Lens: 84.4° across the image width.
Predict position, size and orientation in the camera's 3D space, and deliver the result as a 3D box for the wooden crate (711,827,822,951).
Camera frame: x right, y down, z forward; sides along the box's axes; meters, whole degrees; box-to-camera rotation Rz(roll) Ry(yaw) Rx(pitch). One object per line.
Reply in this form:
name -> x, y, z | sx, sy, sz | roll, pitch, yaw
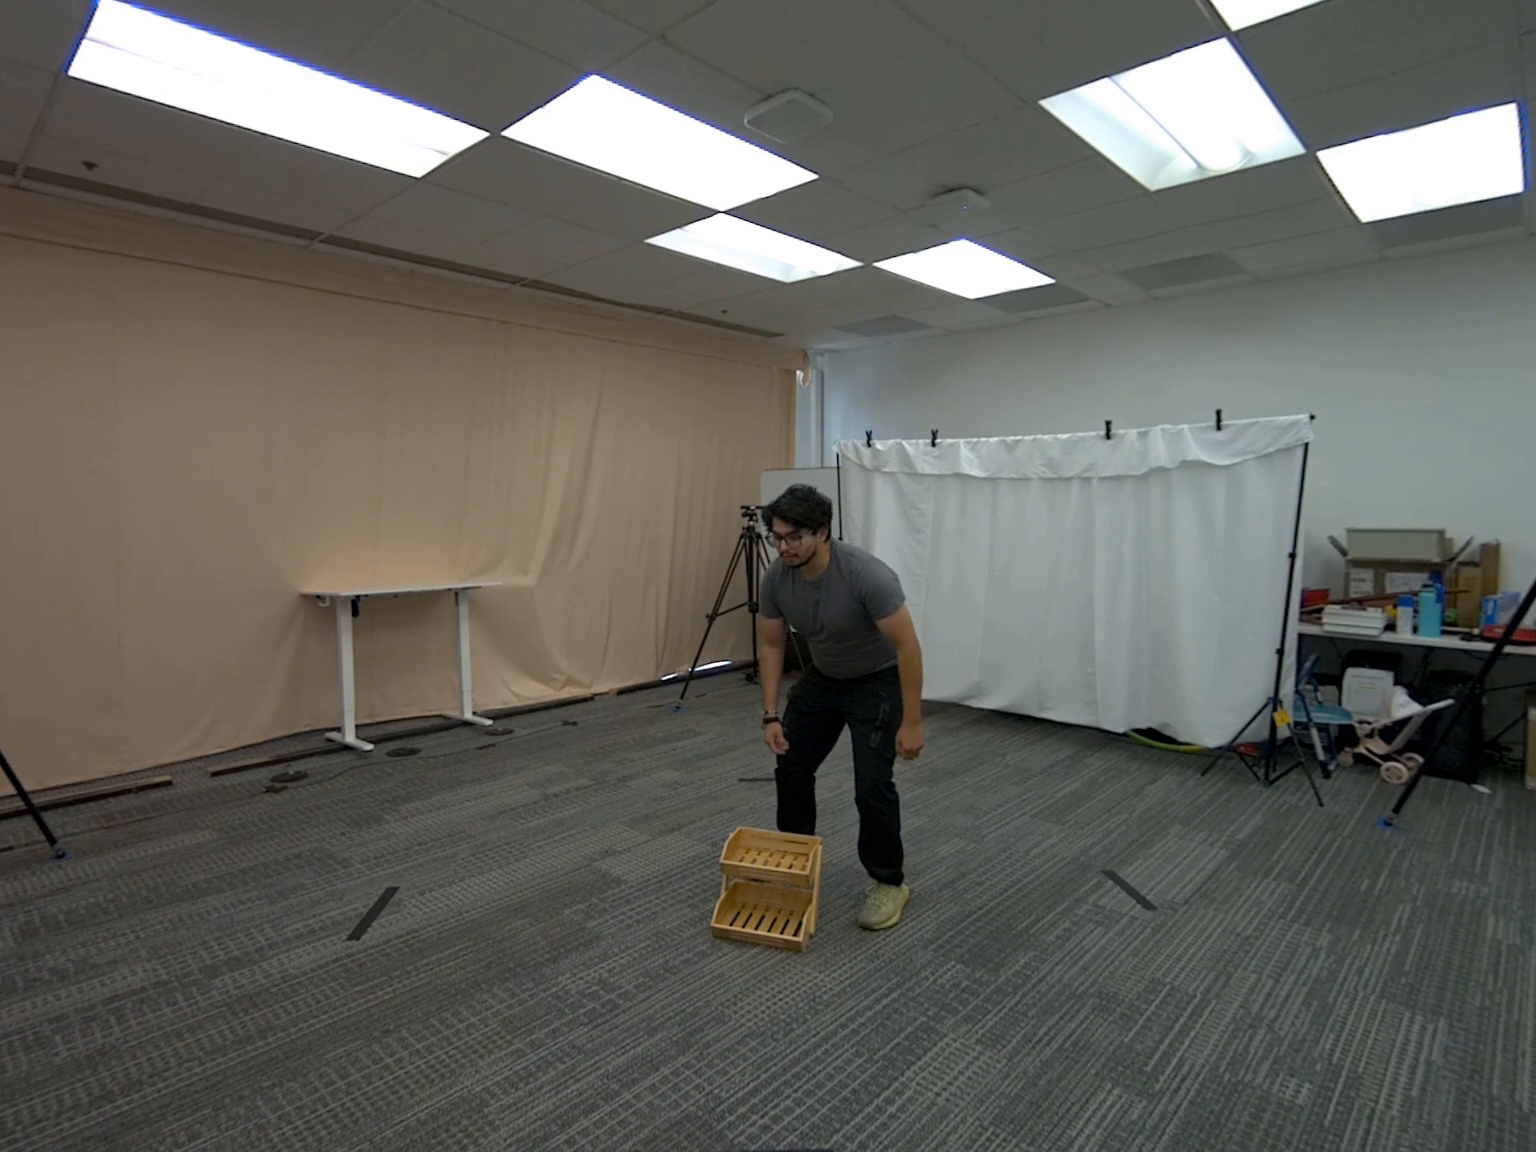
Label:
wooden crate -> 0.007, 1.030, 2.780 | 0.330, 0.273, 0.297 | 2, 4, 16
